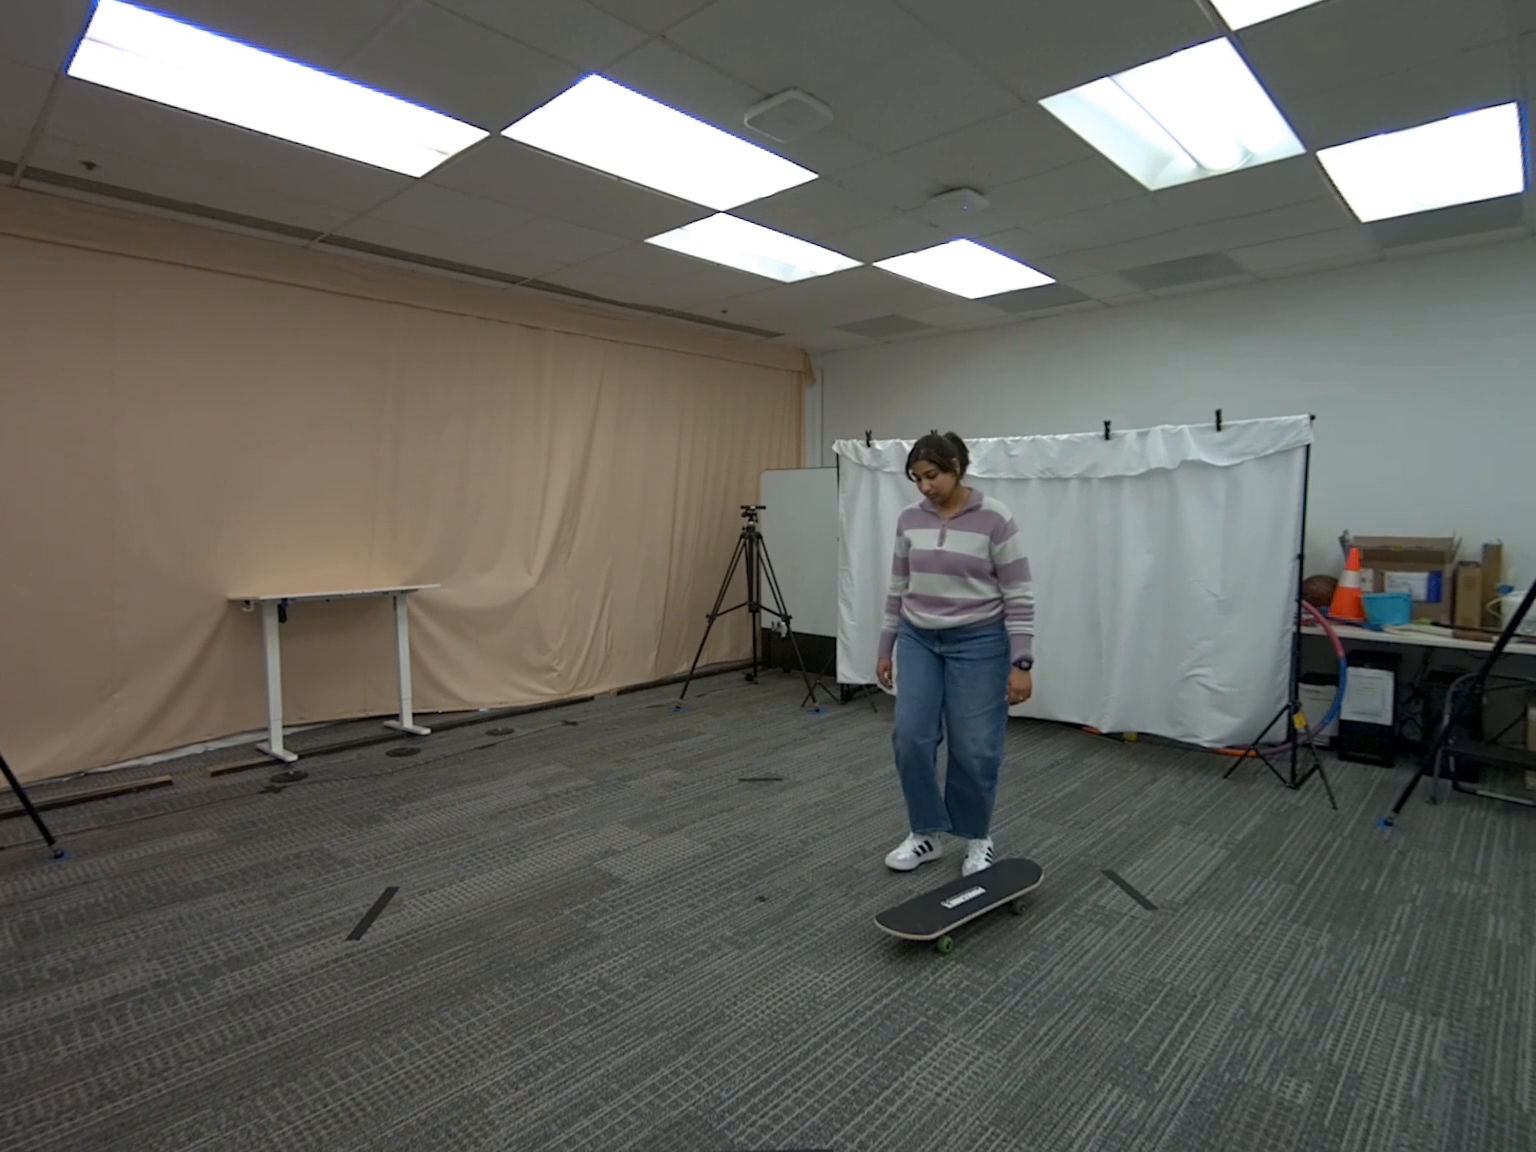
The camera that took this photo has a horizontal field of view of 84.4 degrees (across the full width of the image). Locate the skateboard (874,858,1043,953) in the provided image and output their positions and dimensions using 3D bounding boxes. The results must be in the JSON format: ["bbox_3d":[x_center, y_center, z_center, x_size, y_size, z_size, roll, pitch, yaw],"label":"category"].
[{"bbox_3d":[0.653,1.105,2.792,0.762,0.110,0.200,-3,4,-38],"label":"skateboard"}]
